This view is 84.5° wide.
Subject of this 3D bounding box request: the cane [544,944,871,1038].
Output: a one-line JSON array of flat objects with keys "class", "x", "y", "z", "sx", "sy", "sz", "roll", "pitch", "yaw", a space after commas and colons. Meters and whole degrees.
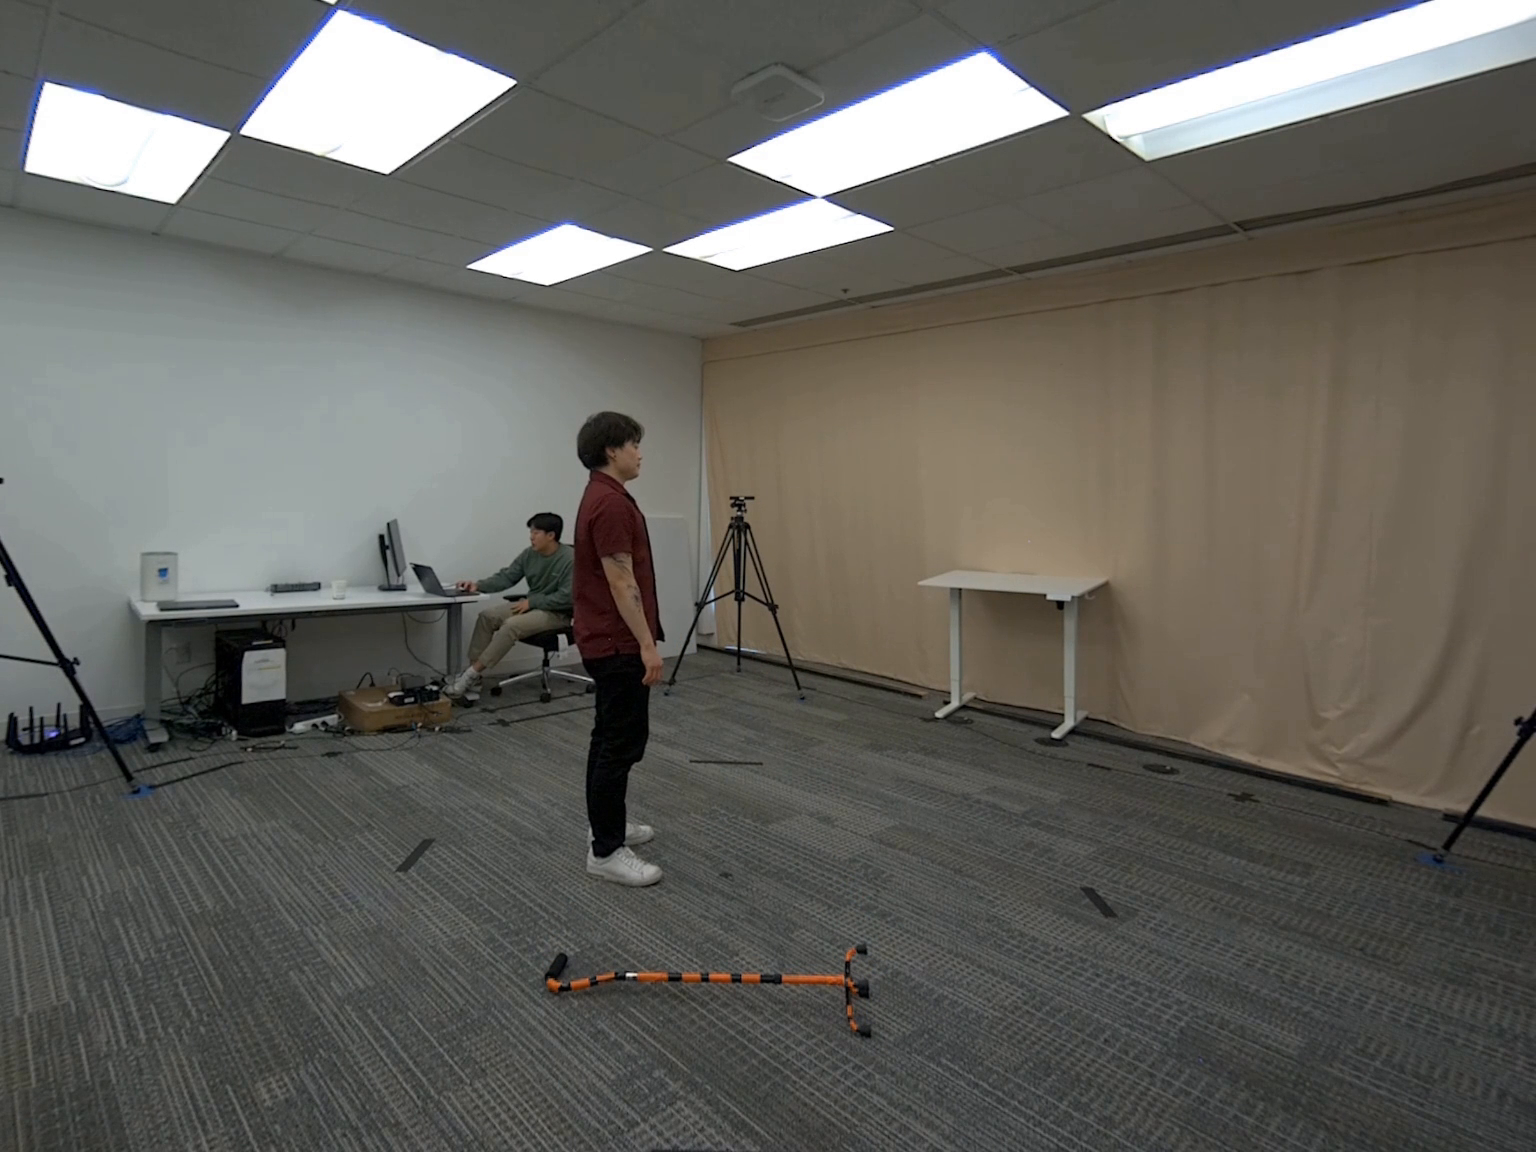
[{"class": "cane", "x": -0.184, "y": 1.134, "z": 2.330, "sx": 0.913, "sy": 0.151, "sz": 0.206, "roll": -3, "pitch": 4, "yaw": 7}]
